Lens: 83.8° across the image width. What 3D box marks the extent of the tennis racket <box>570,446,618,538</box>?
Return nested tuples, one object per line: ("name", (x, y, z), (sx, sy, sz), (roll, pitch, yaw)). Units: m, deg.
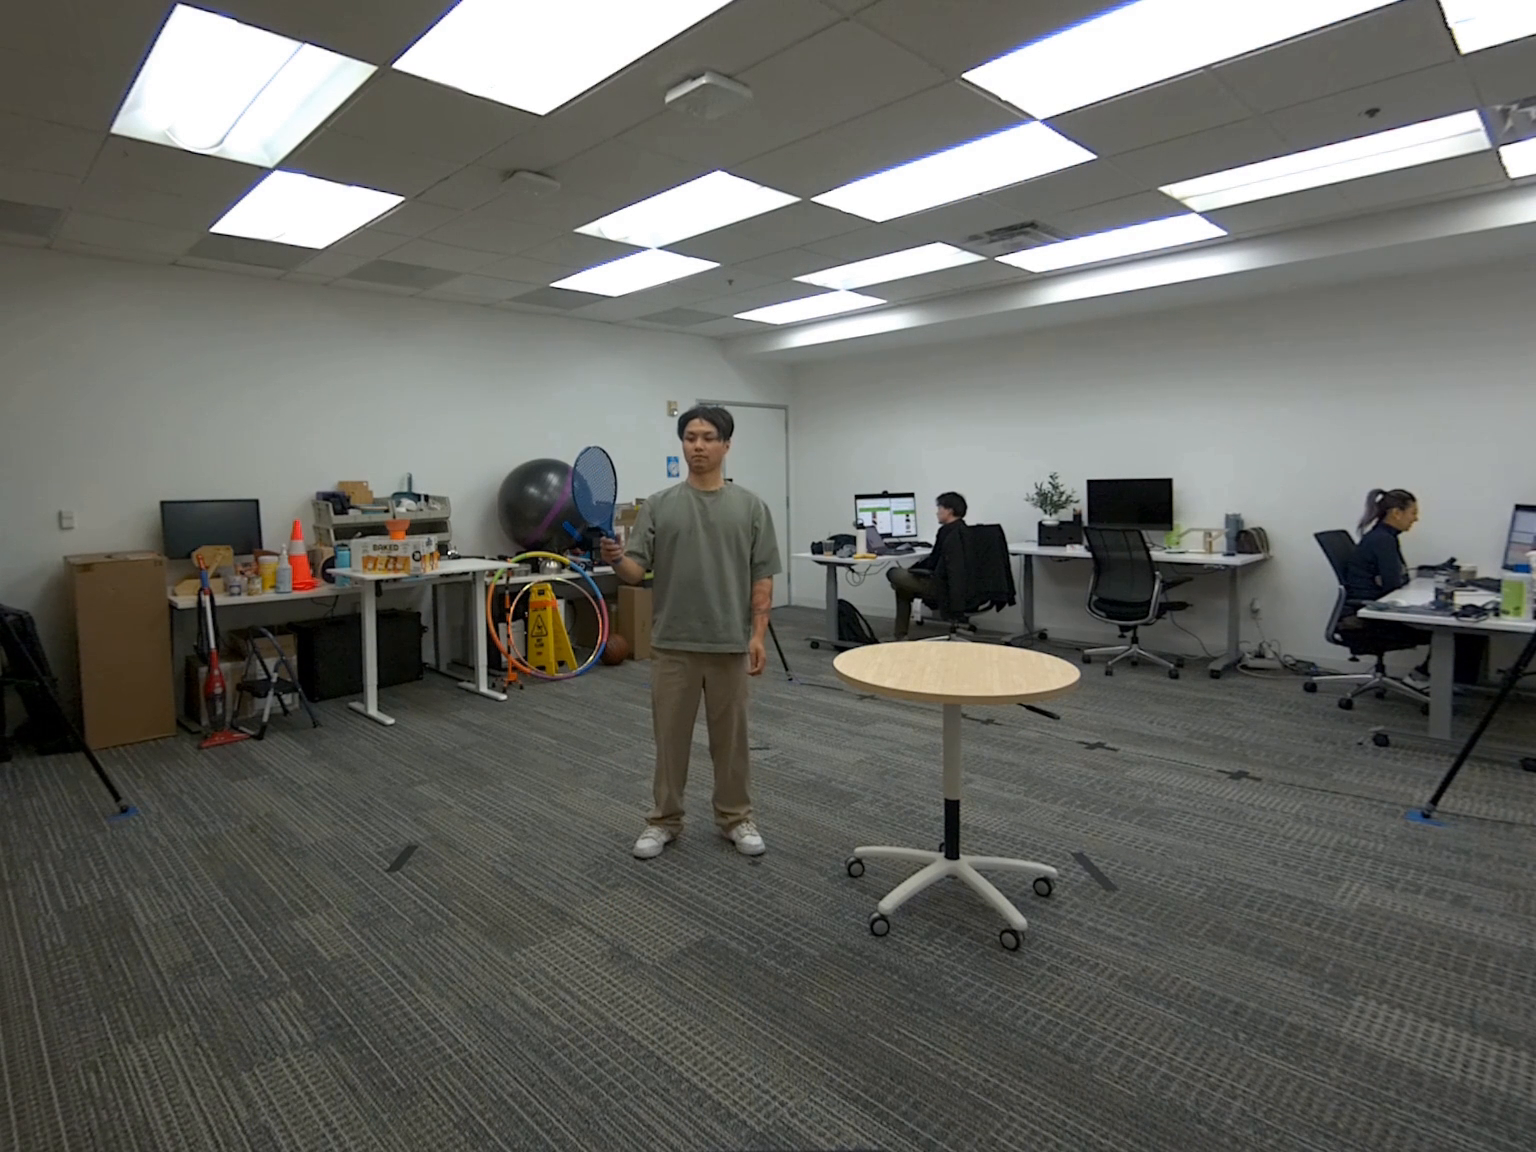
("tennis racket", (-0.535, -0.219, 2.771), (0.032, 0.420, 0.214), (8, 38, 25))
